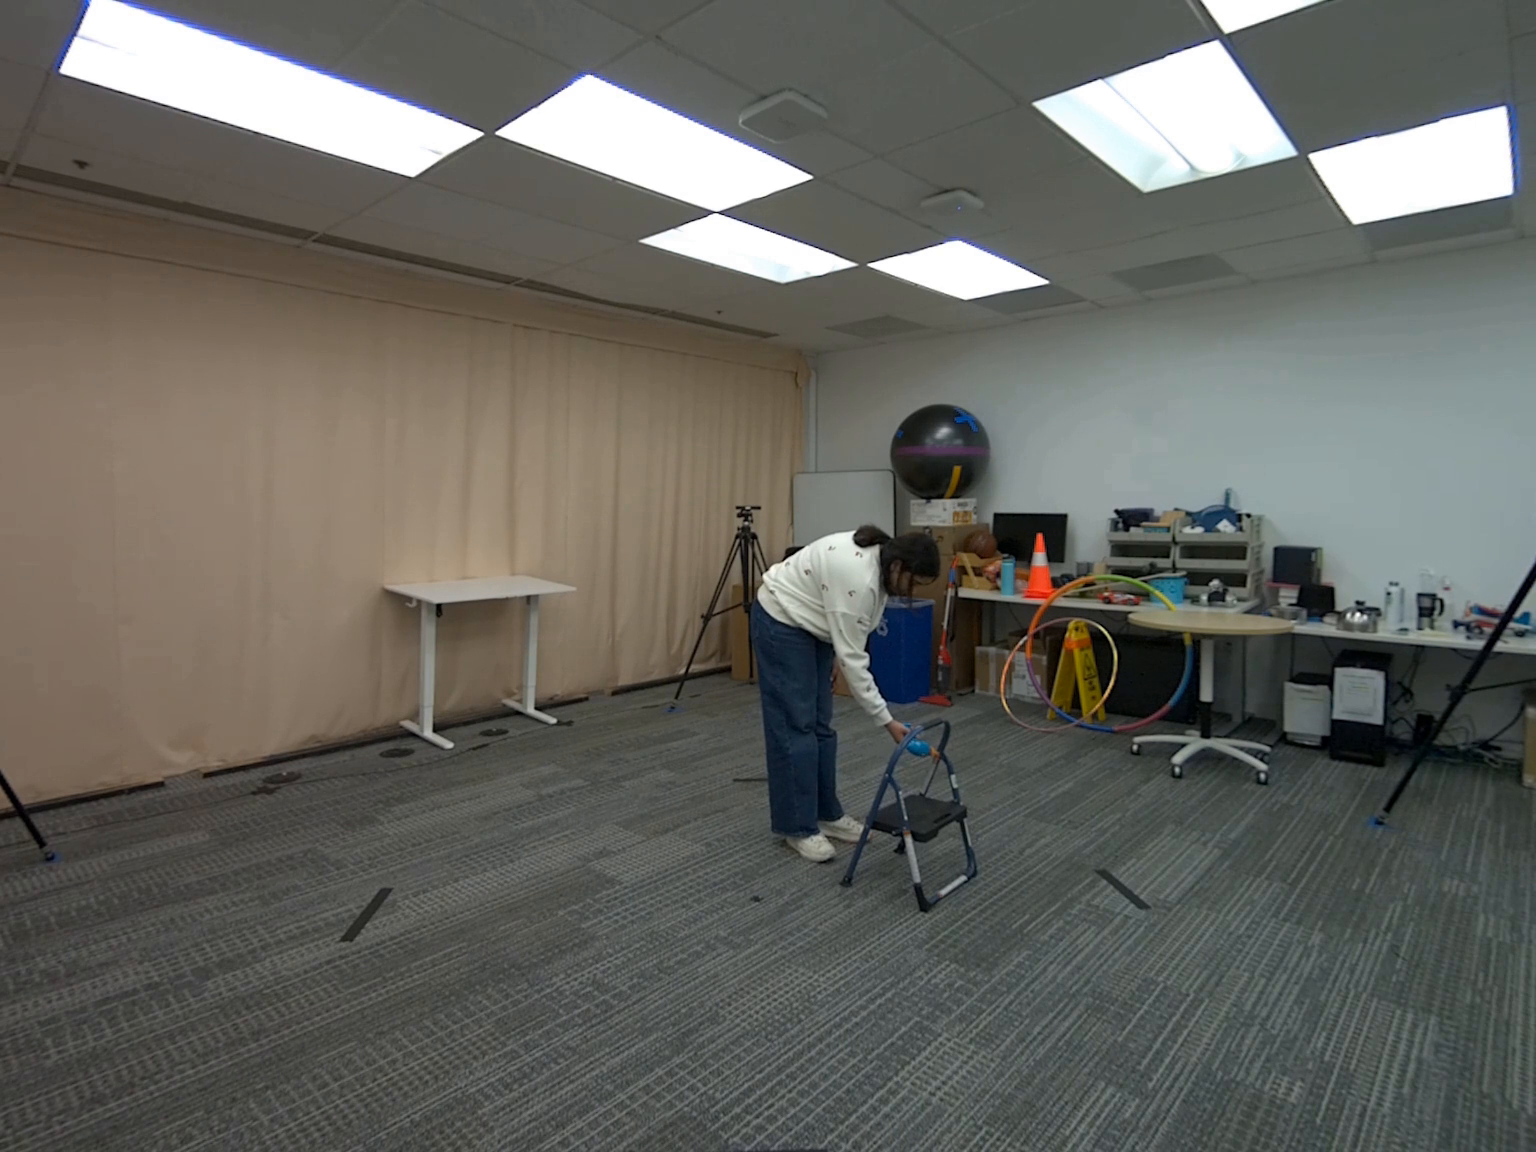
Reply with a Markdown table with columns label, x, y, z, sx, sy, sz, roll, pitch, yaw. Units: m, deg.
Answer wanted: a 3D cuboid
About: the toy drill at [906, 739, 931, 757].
| label | x | y | z | sx | sy | sz | roll | pitch | yaw |
| --- | --- | --- | --- | --- | --- | --- | --- | --- | --- |
| toy drill | 0.586 | 0.641 | 3.239 | 0.164 | 0.061 | 0.150 | 18 | 27 | -31 |
